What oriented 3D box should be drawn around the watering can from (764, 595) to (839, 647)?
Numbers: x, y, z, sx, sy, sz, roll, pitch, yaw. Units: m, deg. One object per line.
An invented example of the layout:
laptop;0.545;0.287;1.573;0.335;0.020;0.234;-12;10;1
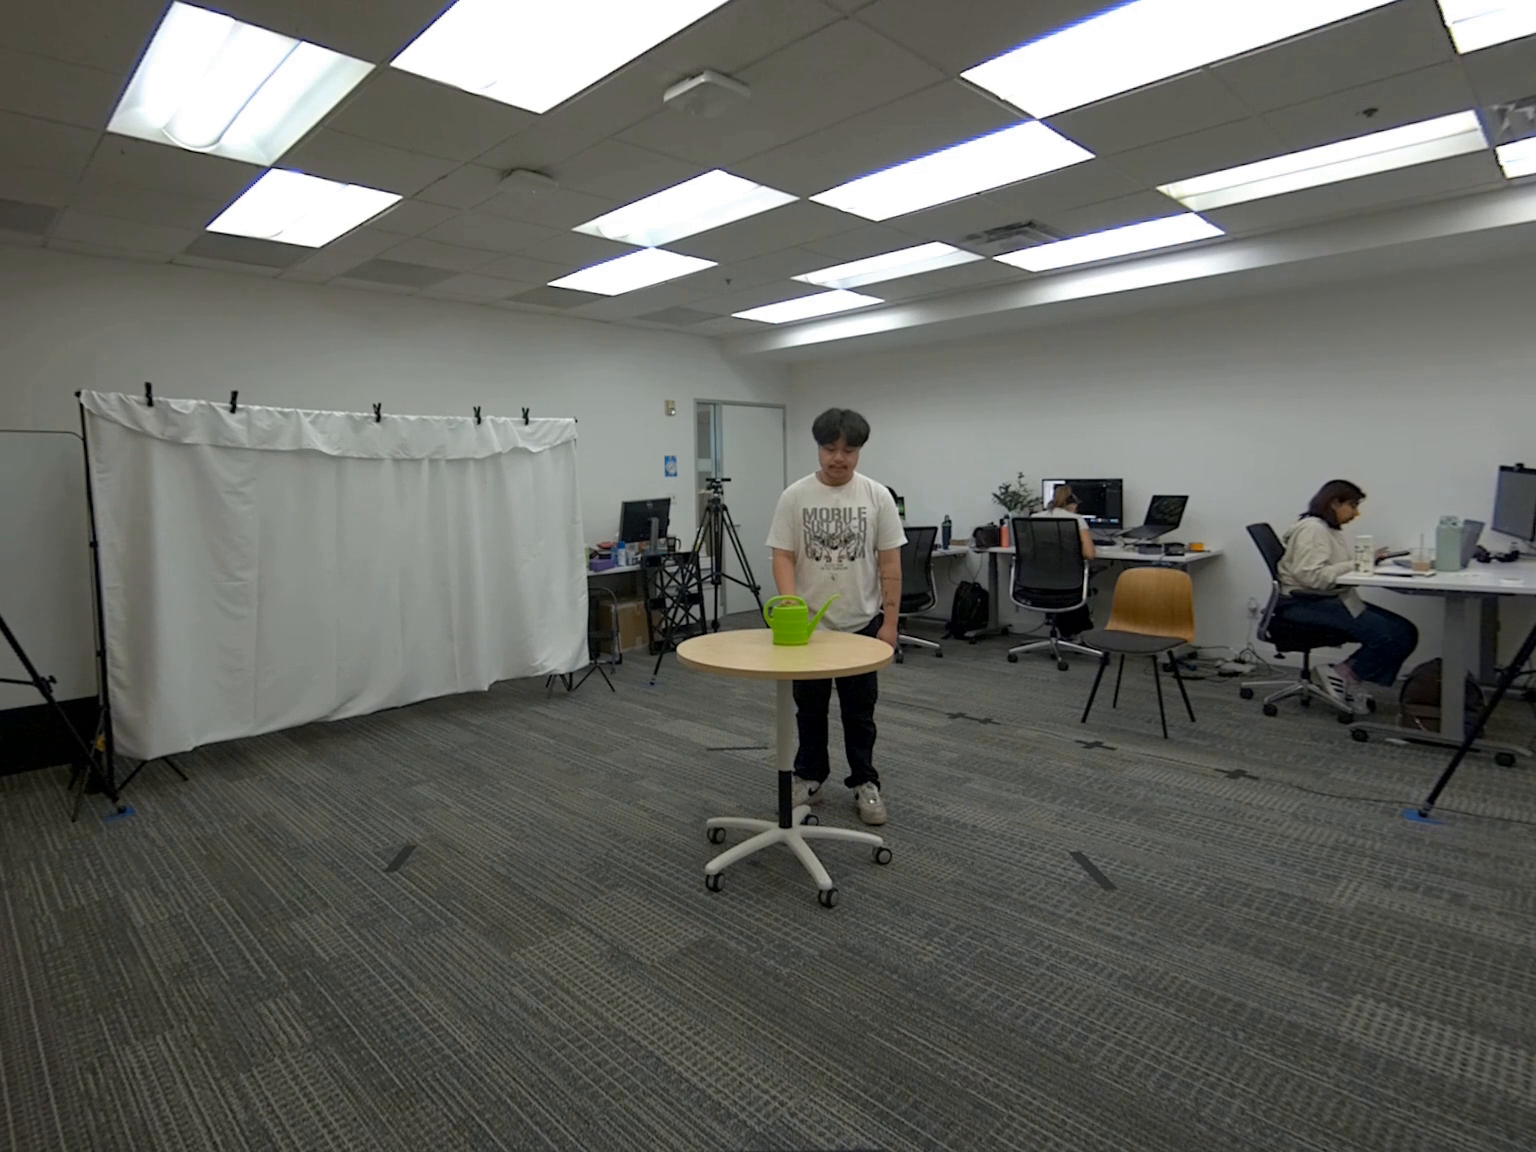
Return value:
watering can;0.127;0.166;3.103;0.281;0.176;0.097;1;4;10
